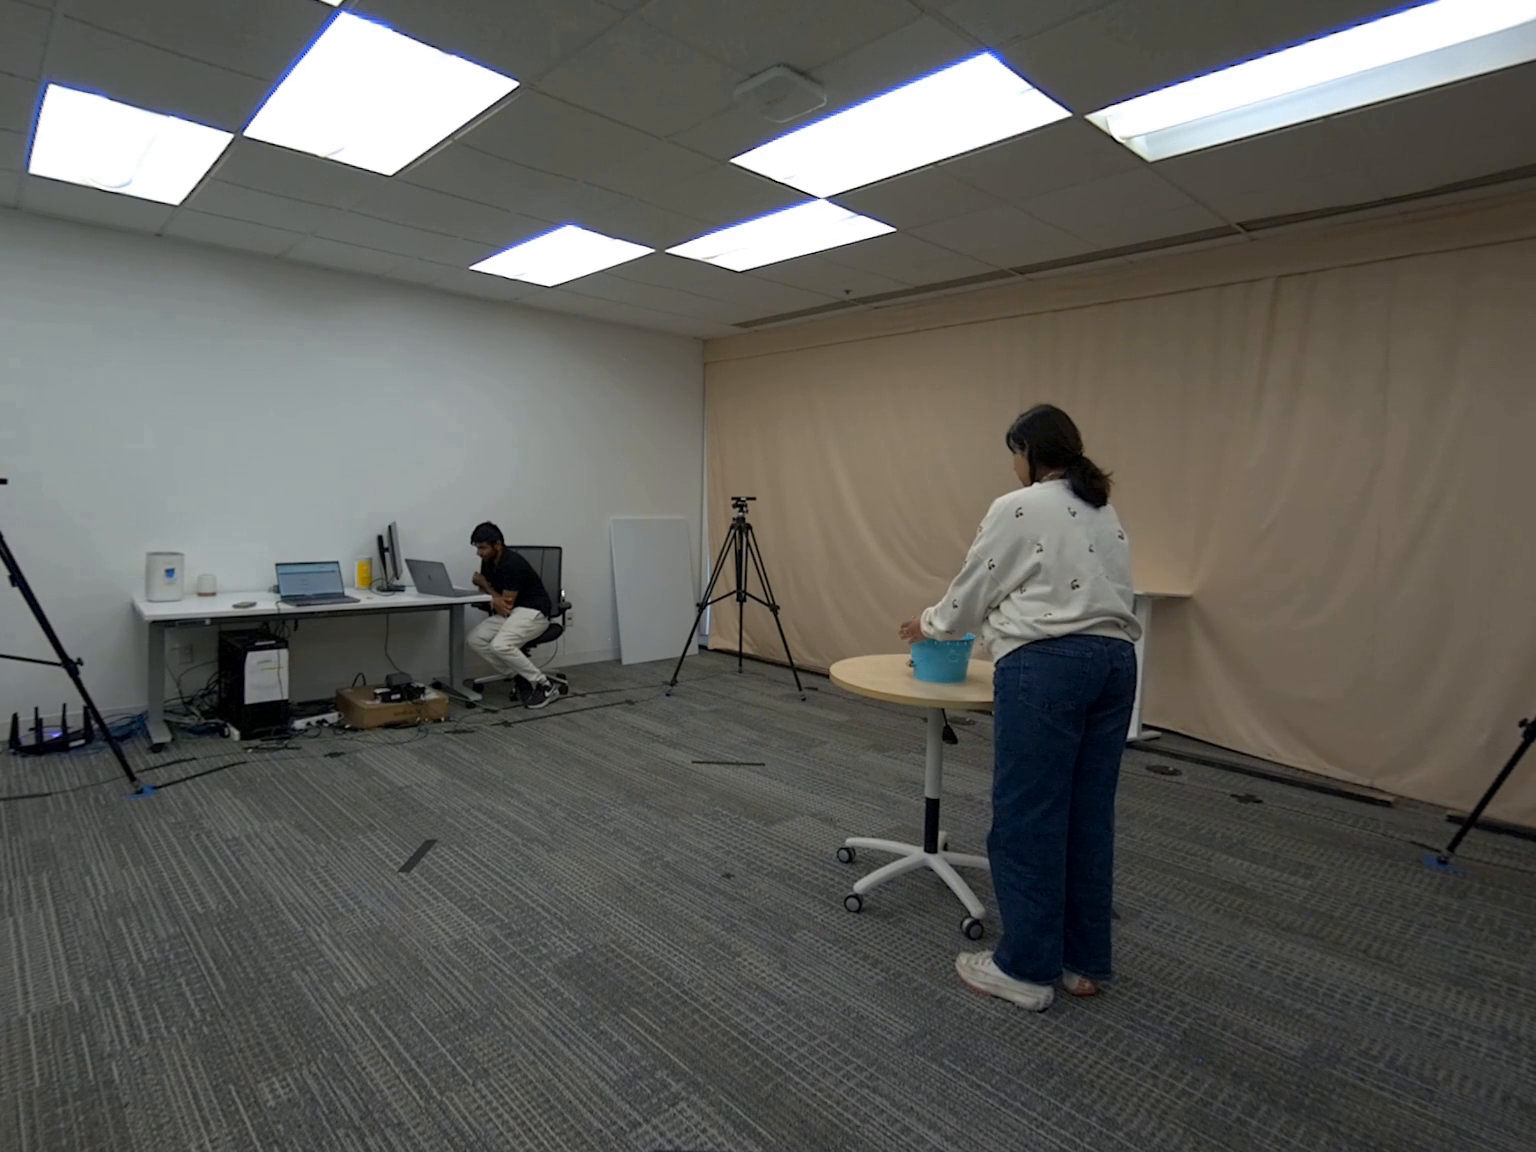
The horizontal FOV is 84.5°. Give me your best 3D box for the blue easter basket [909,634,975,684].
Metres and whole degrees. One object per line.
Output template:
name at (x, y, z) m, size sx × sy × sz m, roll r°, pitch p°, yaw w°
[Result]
blue easter basket at (0.607, 0.284, 2.966) m, size 0.243 × 0.155 × 0.244 m, roll 2°, pitch 5°, yaw -2°
